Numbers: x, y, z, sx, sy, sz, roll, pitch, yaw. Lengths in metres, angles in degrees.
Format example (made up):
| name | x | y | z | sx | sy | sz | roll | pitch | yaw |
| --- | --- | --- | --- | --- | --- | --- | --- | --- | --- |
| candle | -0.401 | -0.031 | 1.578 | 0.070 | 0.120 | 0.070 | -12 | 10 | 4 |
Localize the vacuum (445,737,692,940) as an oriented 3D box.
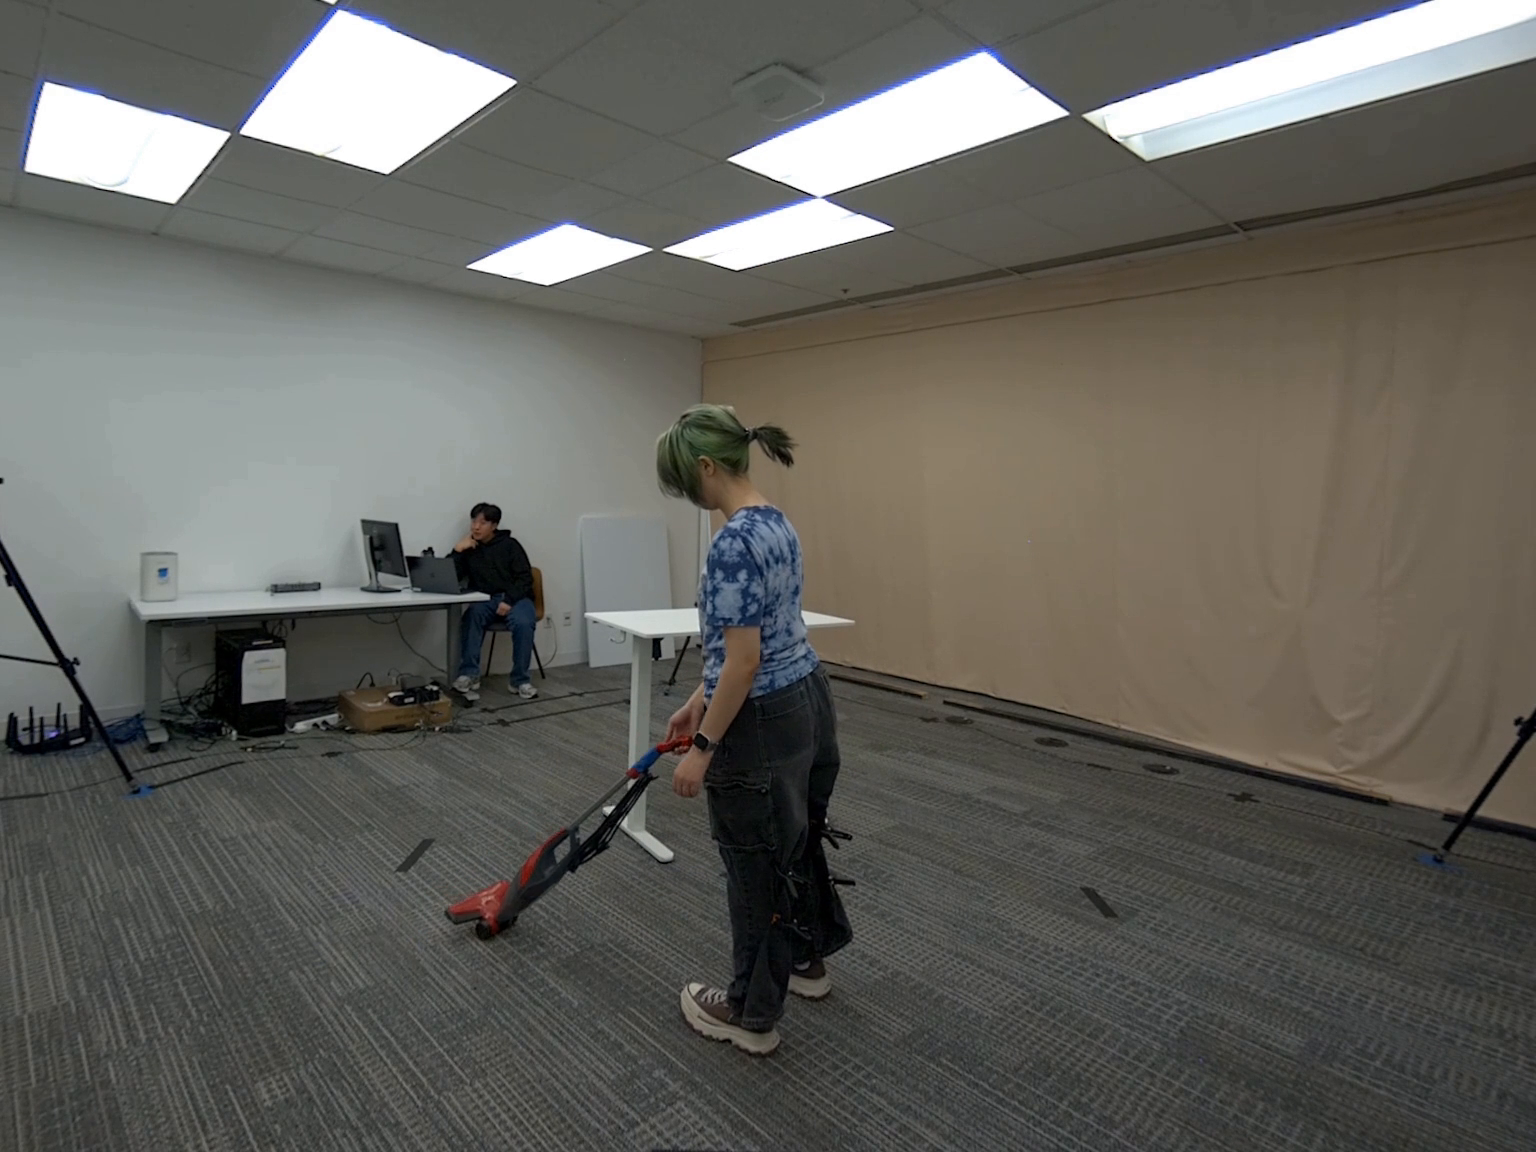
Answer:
| name | x | y | z | sx | sy | sz | roll | pitch | yaw |
| --- | --- | --- | --- | --- | --- | --- | --- | --- | --- |
| vacuum | -0.564 | 0.785 | 2.461 | 1.052 | 0.146 | 0.247 | -41 | -17 | 27 |
